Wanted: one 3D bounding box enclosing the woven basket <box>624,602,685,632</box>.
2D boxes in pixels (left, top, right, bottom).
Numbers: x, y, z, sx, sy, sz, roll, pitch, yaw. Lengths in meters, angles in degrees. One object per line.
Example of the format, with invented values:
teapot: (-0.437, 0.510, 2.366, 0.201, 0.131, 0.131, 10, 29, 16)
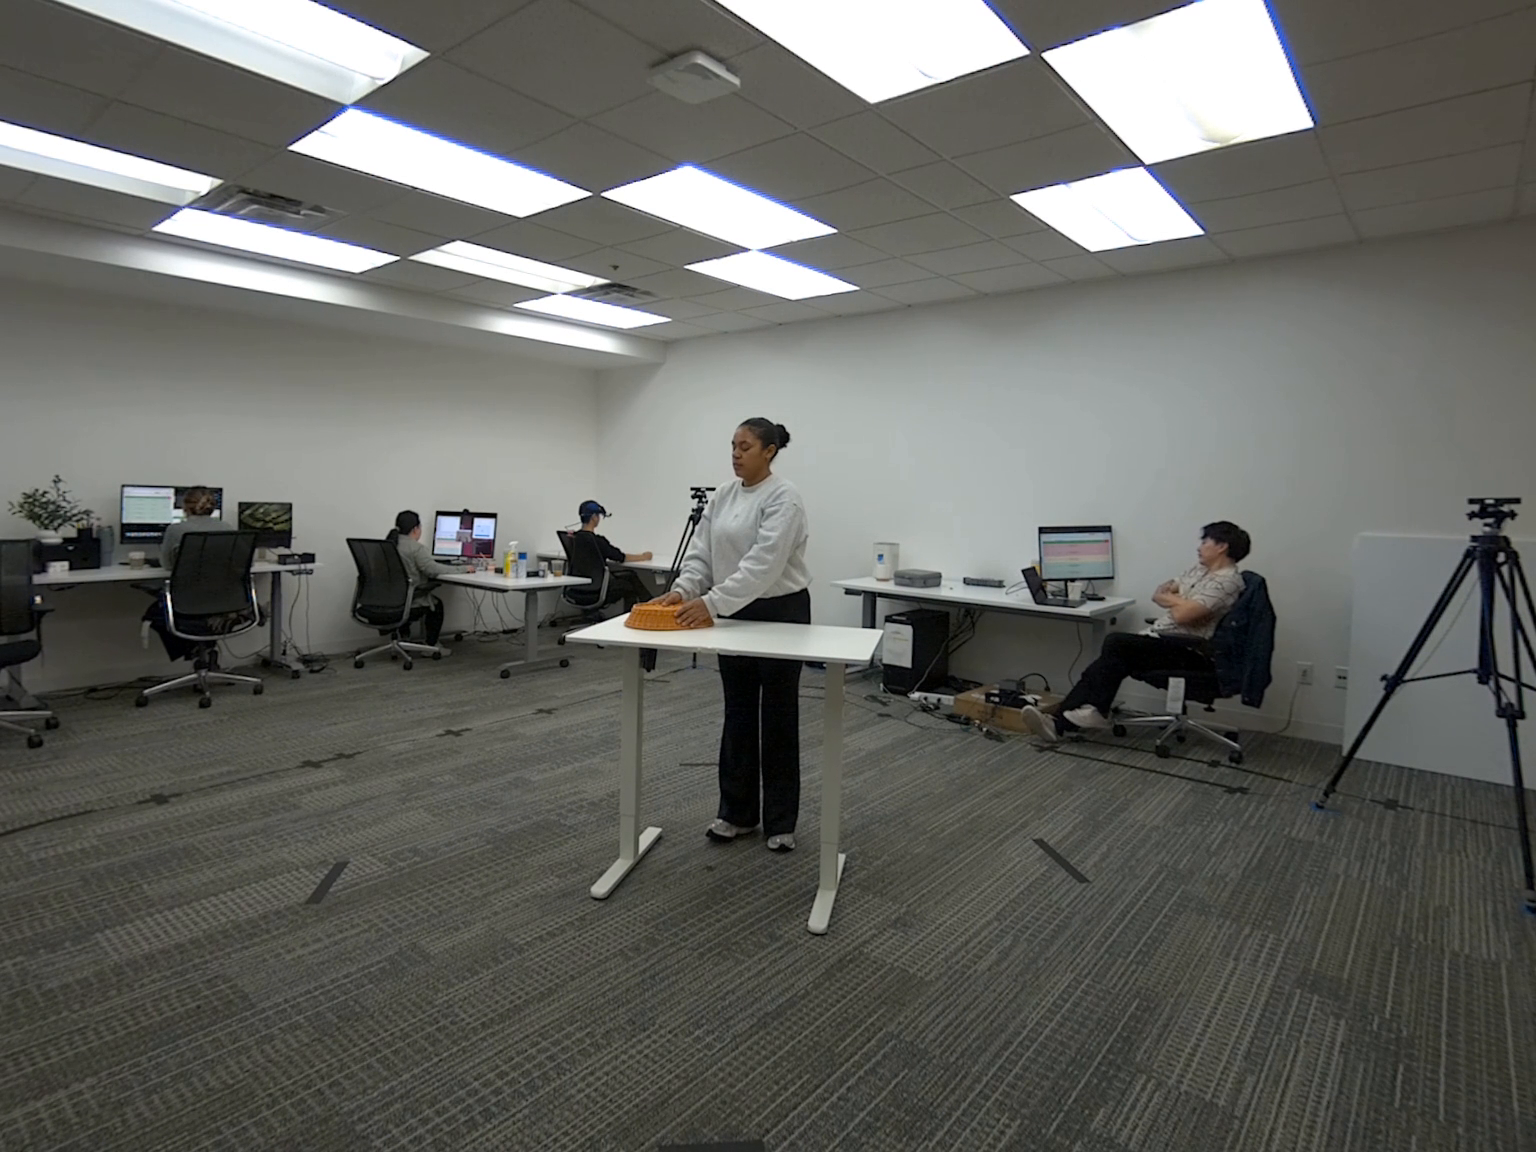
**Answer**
woven basket: (-0.367, 0.144, 3.130, 0.342, 0.073, 0.260, -2, 7, -27)
